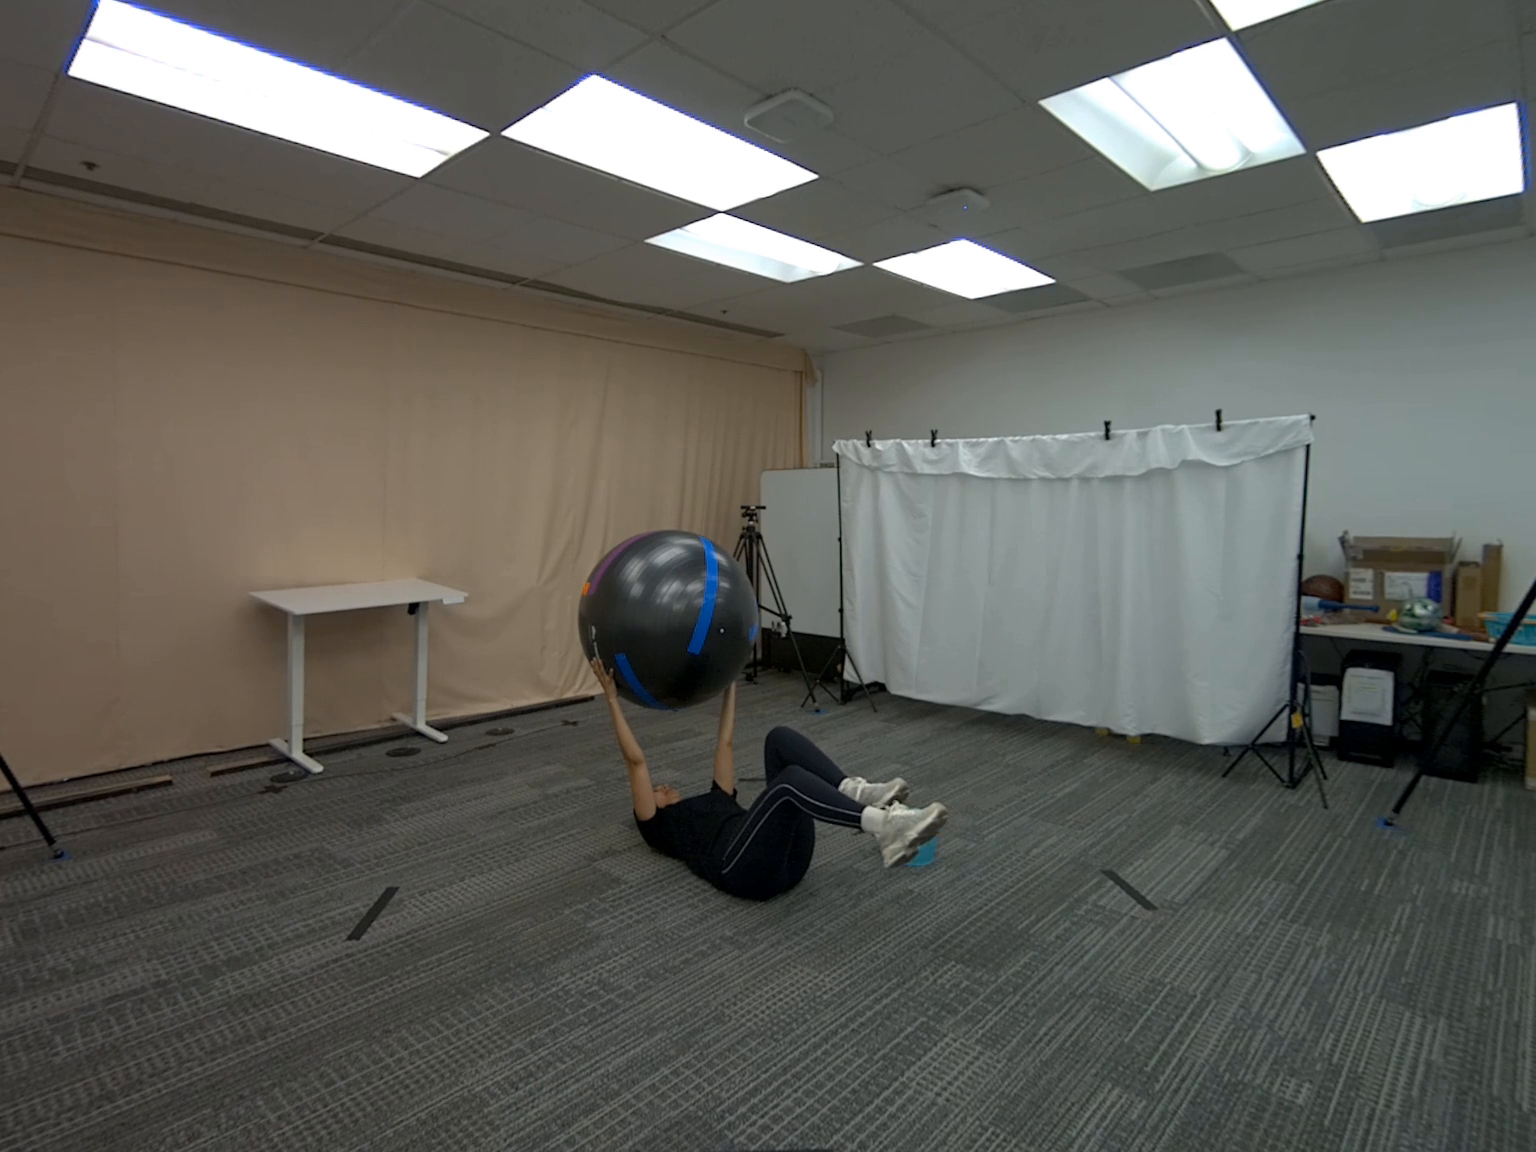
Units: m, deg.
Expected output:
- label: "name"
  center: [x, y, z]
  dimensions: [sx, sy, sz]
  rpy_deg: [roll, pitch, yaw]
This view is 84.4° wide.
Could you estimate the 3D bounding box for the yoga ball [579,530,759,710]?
- label: "yoga ball"
  center: [-0.419, 0.185, 3.559]
  dimensions: [0.757, 0.756, 0.761]
  rpy_deg: [3, 5, -2]
